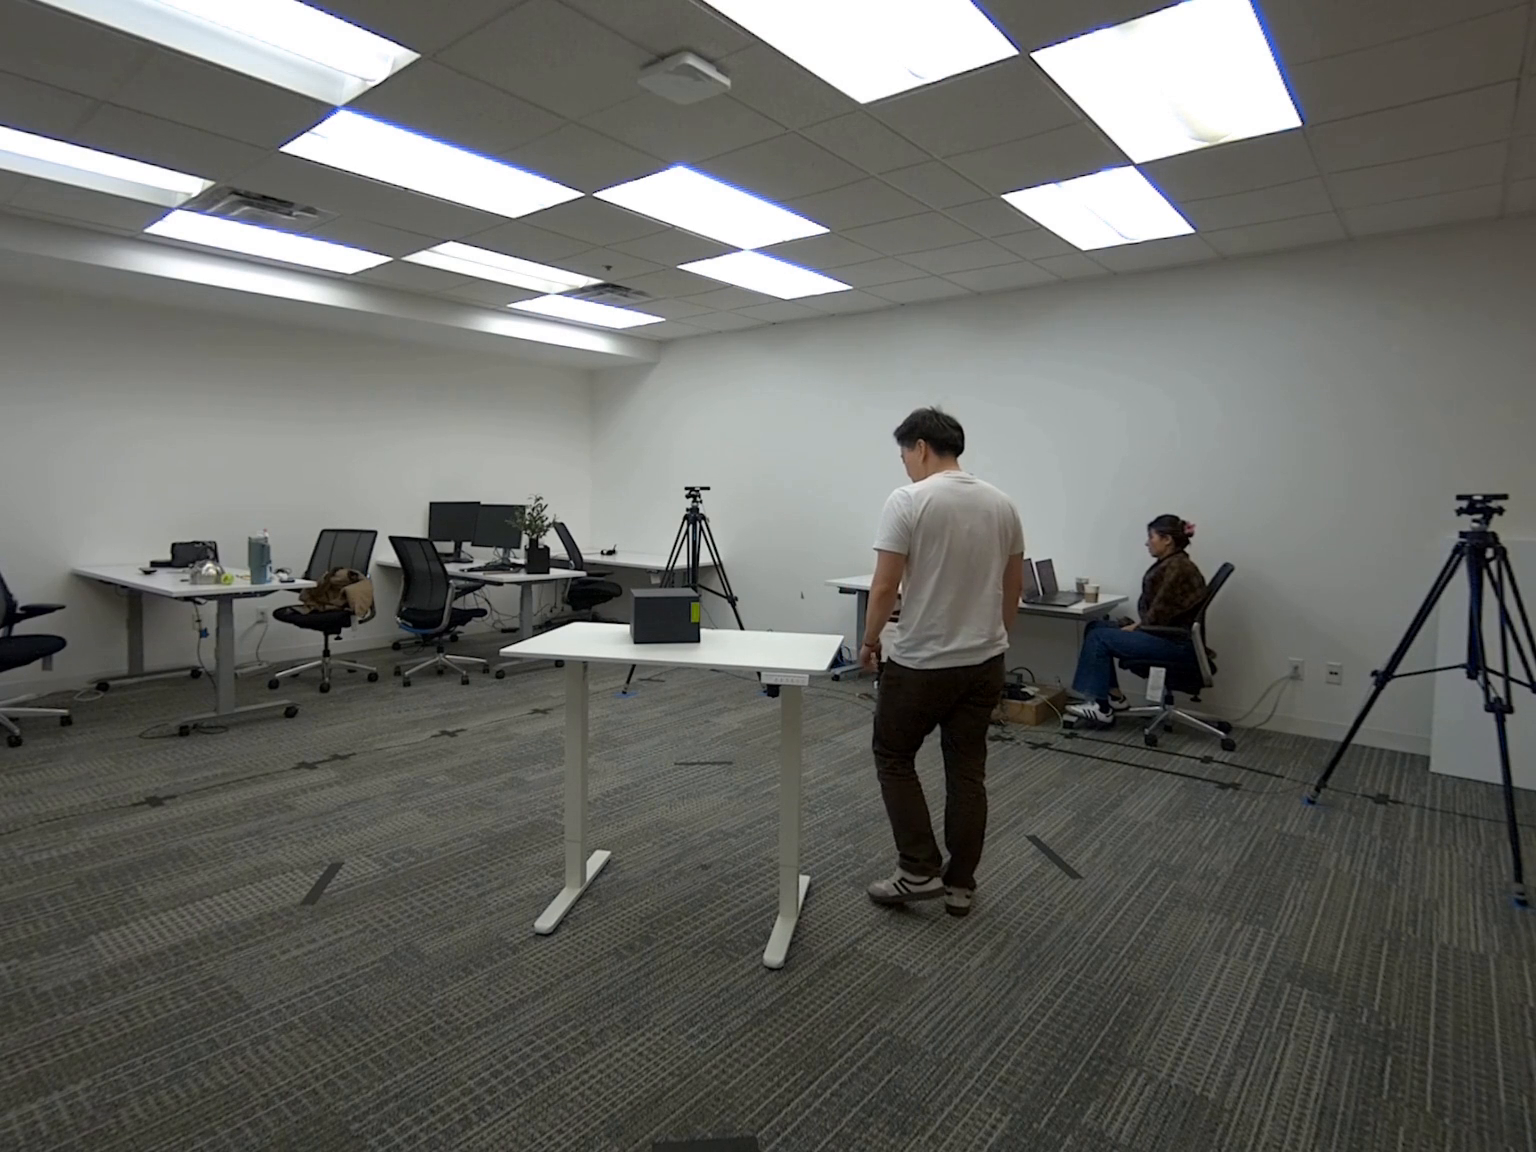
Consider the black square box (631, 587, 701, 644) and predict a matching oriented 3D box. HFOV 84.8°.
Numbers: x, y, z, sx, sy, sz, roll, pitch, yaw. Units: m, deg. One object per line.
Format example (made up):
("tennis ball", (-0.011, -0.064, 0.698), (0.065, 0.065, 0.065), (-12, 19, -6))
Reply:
("black square box", (-0.358, 0.124, 2.871), (0.215, 0.155, 0.230), (1, 4, -7))
